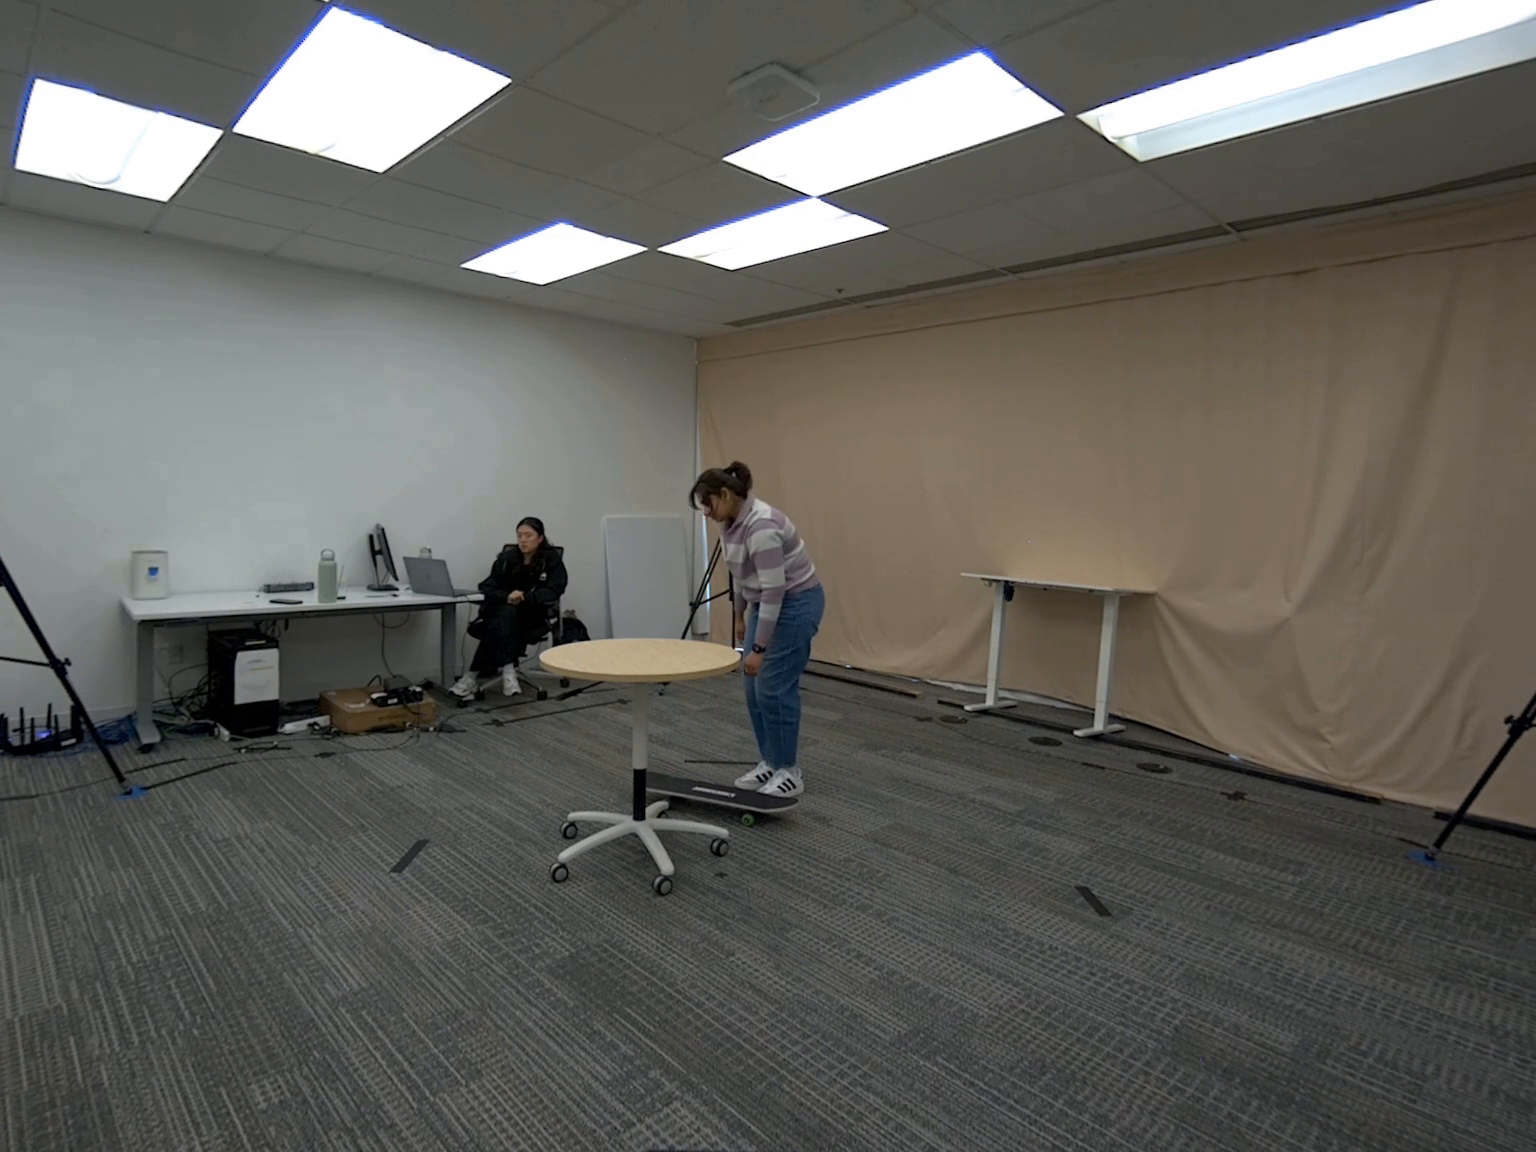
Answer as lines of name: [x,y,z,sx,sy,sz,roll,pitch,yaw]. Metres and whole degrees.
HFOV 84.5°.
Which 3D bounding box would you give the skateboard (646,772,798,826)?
skateboard: [-0.249,0.990,3.733,0.800,0.110,0.190,4,6,24]
